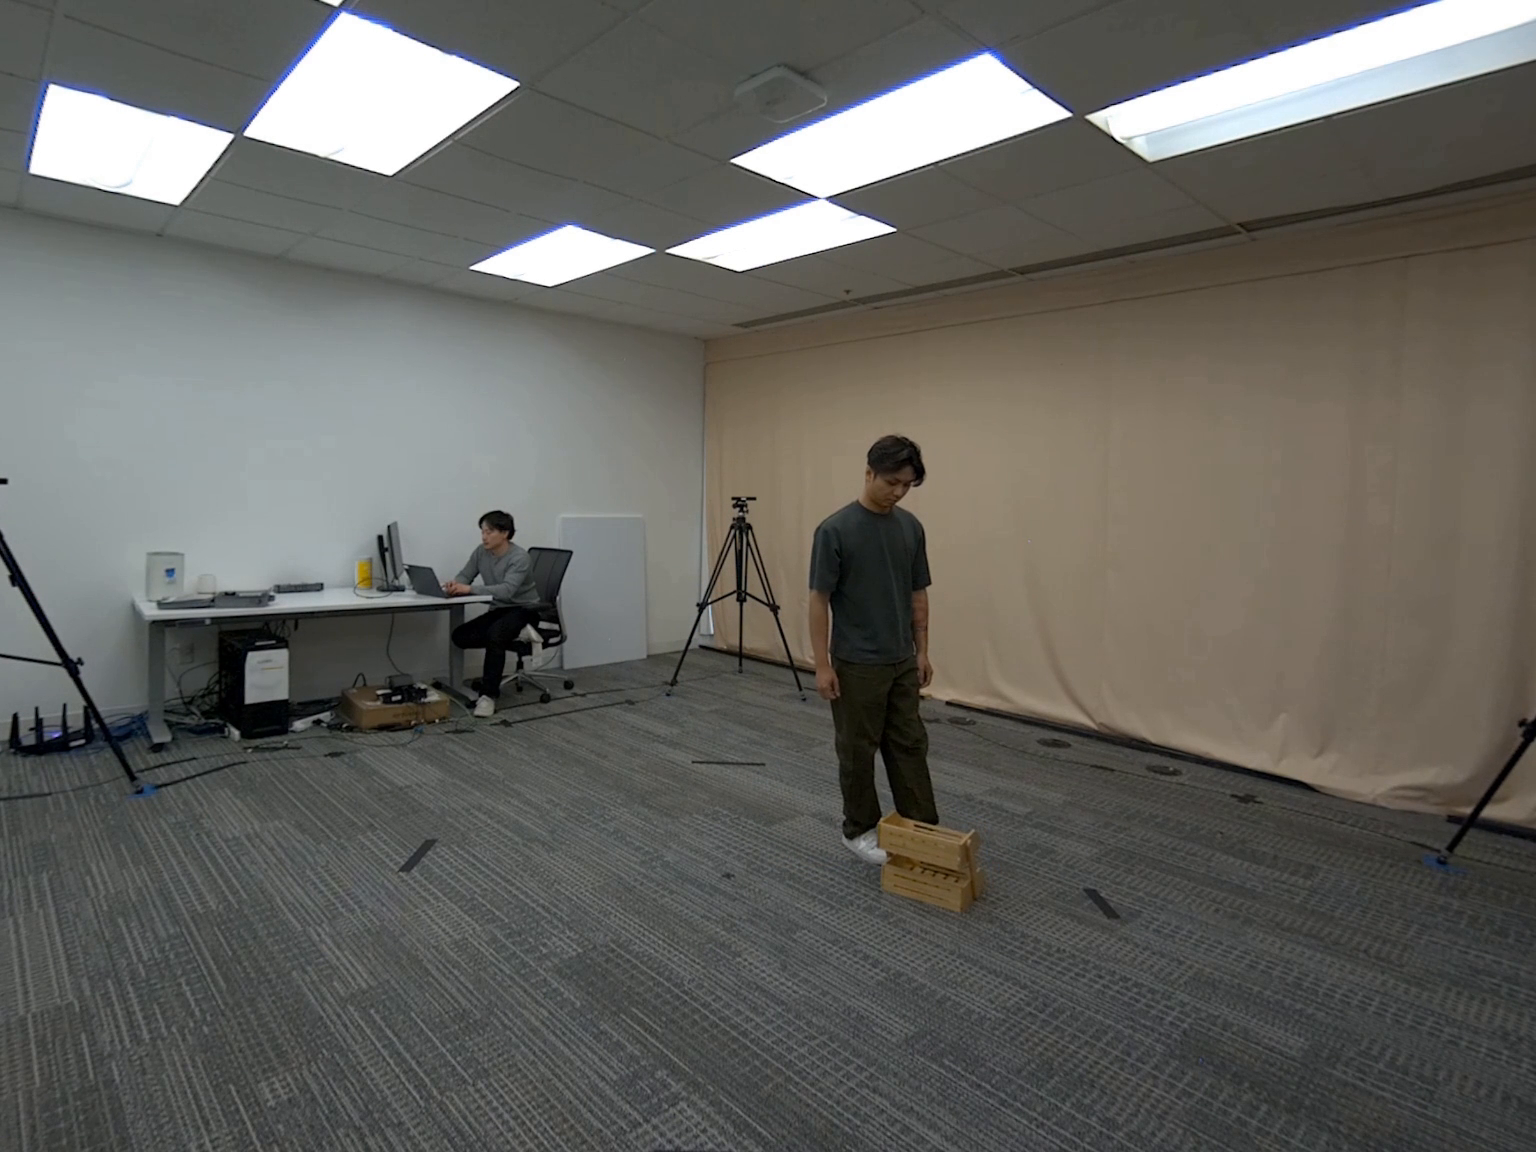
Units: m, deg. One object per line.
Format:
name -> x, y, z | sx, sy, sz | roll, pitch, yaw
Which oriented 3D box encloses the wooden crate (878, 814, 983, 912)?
wooden crate -> 0.585, 1.001, 3.025 | 0.332, 0.272, 0.296 | 4, 5, 32
